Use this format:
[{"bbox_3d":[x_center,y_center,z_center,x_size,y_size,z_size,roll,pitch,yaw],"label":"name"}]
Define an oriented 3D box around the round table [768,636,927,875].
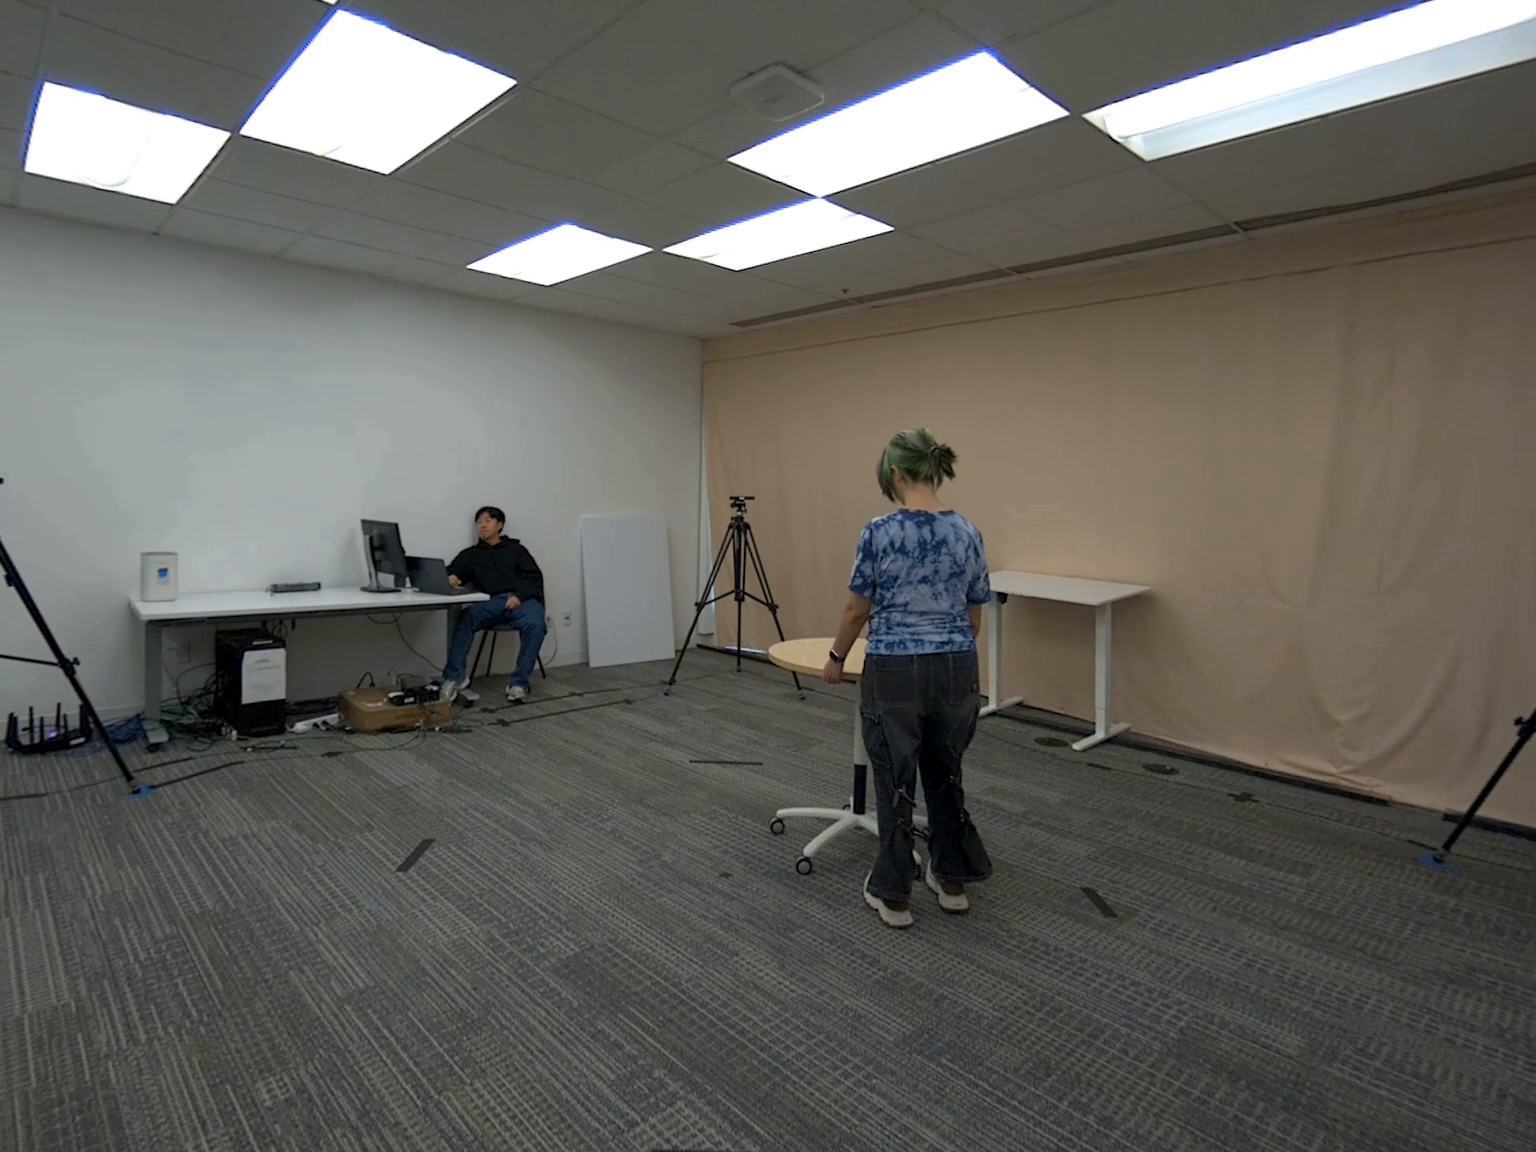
[{"bbox_3d":[0.352,0.705,3.367,0.763,0.792,0.766,2,4,-1],"label":"round table"}]
